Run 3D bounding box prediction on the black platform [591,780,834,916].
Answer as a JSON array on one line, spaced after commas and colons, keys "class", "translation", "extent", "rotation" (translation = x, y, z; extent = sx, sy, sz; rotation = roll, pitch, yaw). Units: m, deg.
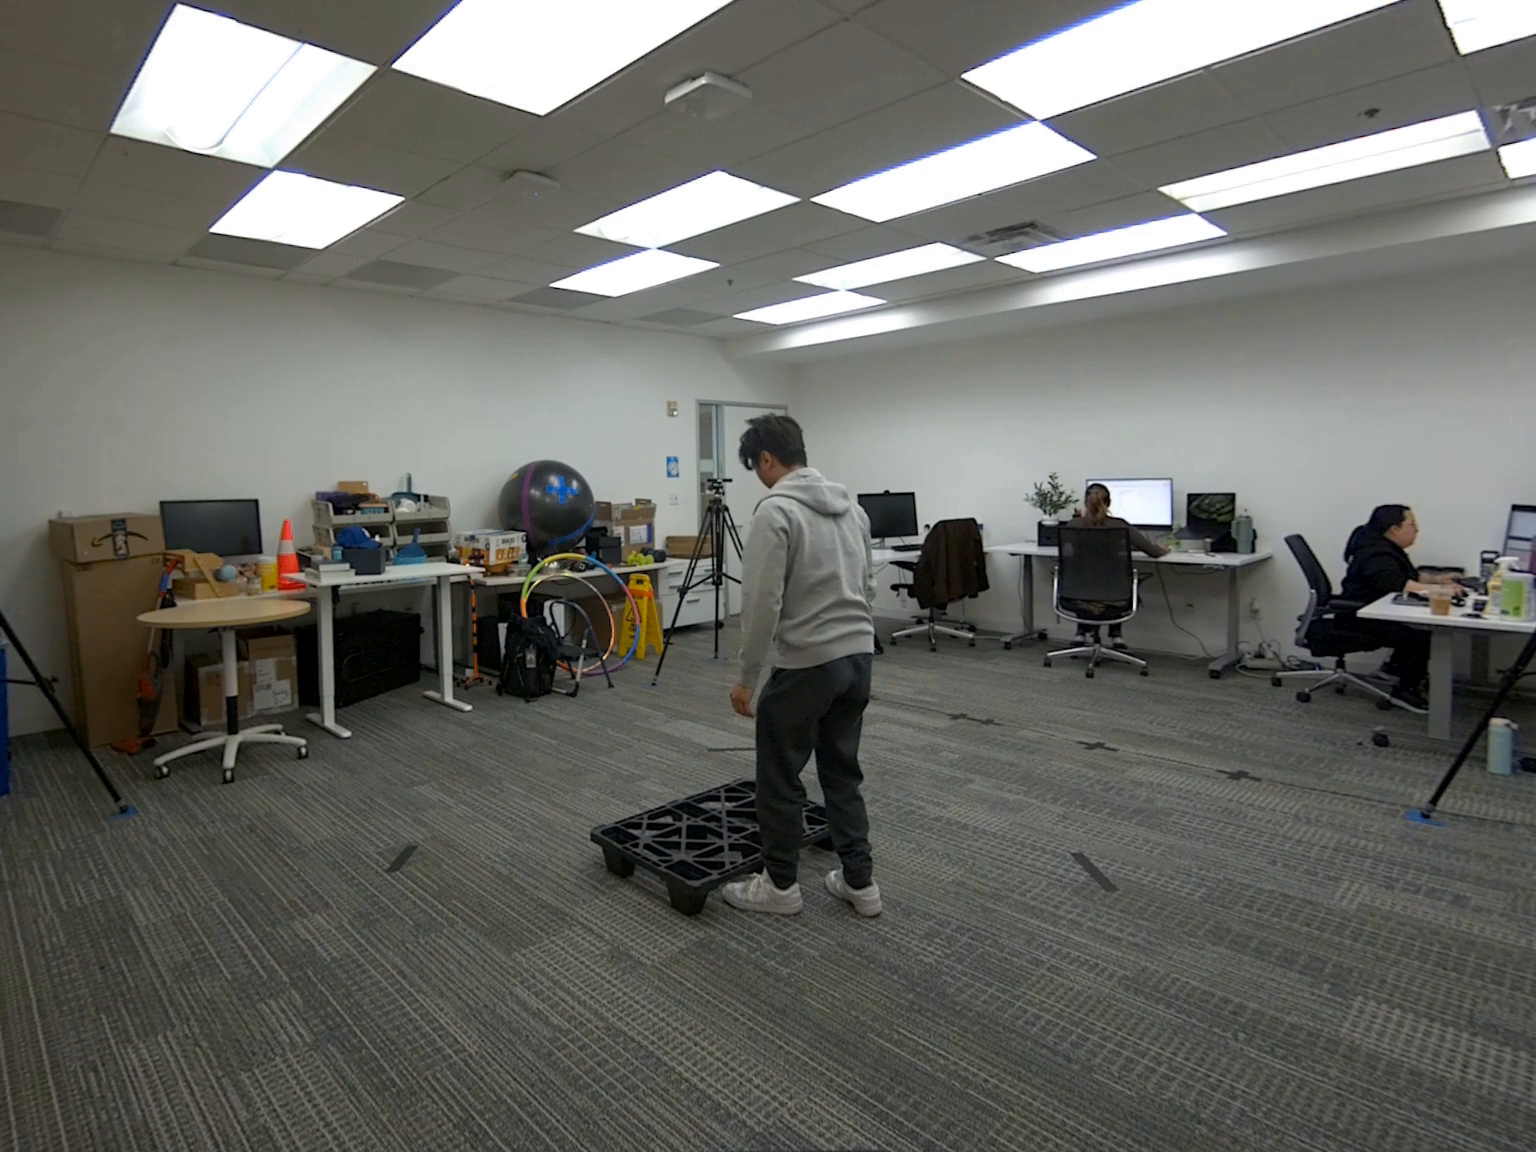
[{"class": "black platform", "translation": [-0.154, 0.980, 3.150], "extent": [0.784, 0.142, 0.624], "rotation": [-7, 10, -44]}]
